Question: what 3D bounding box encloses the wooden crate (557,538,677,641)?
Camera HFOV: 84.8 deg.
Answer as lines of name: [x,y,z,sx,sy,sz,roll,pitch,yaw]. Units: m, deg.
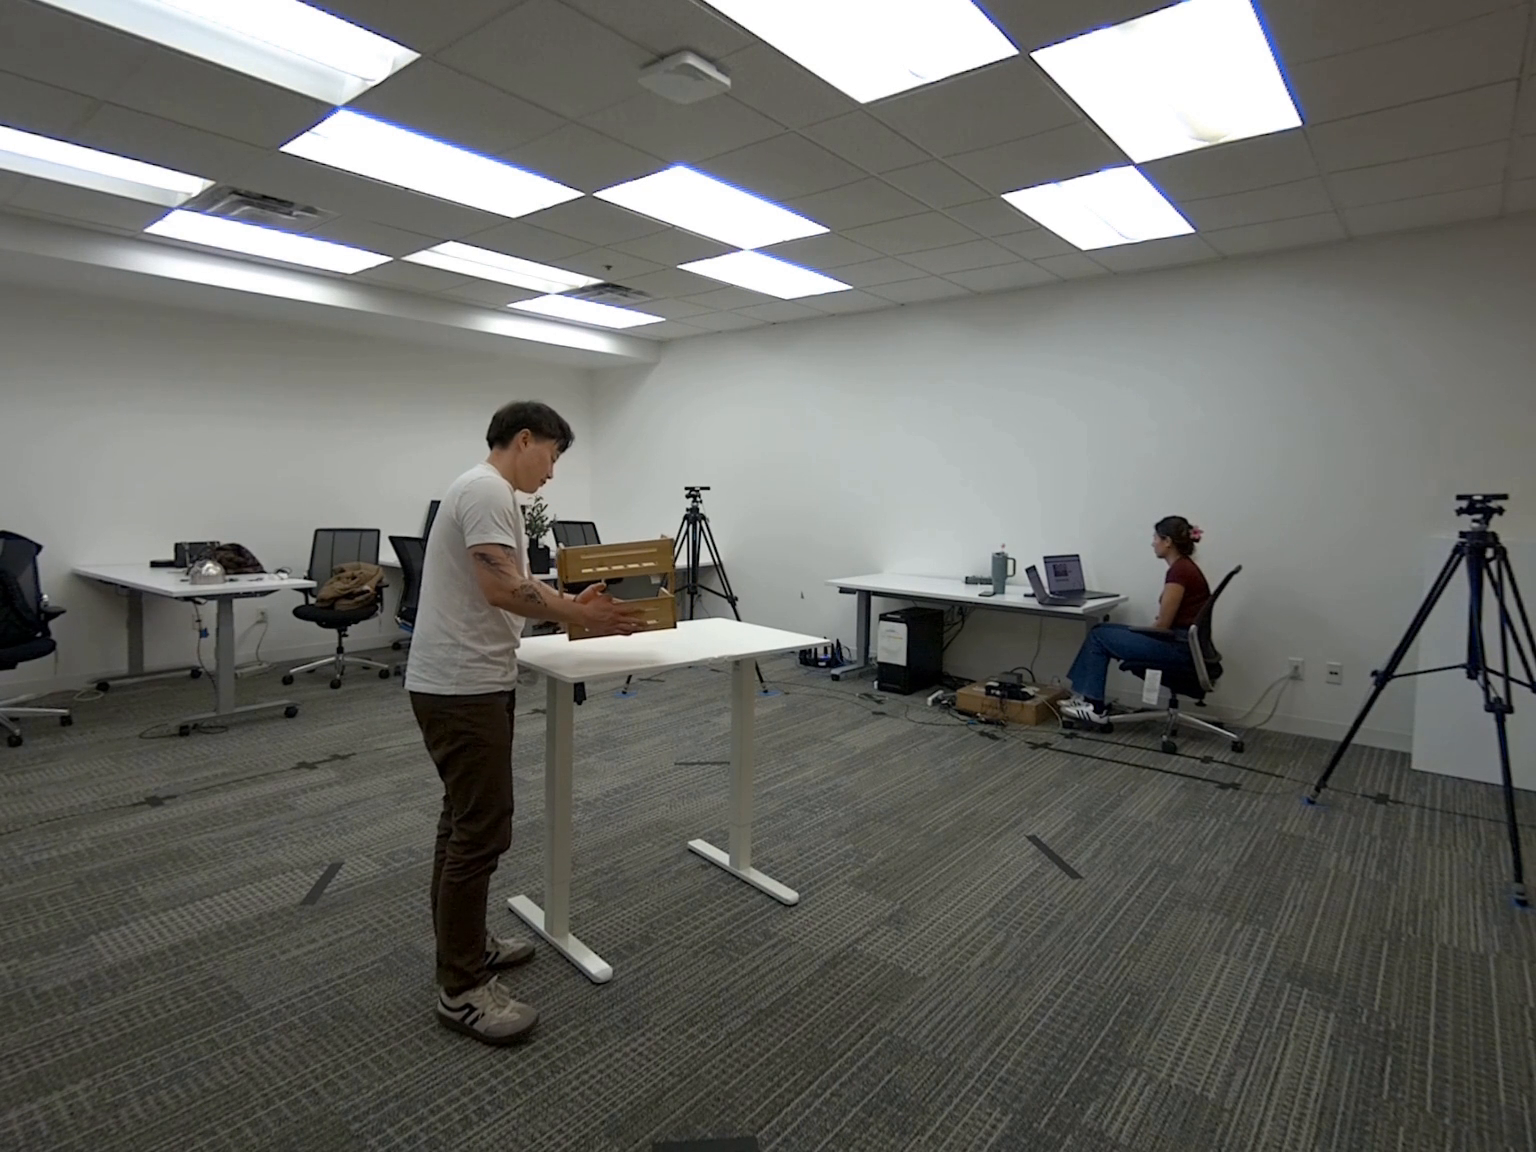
wooden crate: [-0.452,0.026,2.411,0.319,0.272,0.308,-6,5,-18]
